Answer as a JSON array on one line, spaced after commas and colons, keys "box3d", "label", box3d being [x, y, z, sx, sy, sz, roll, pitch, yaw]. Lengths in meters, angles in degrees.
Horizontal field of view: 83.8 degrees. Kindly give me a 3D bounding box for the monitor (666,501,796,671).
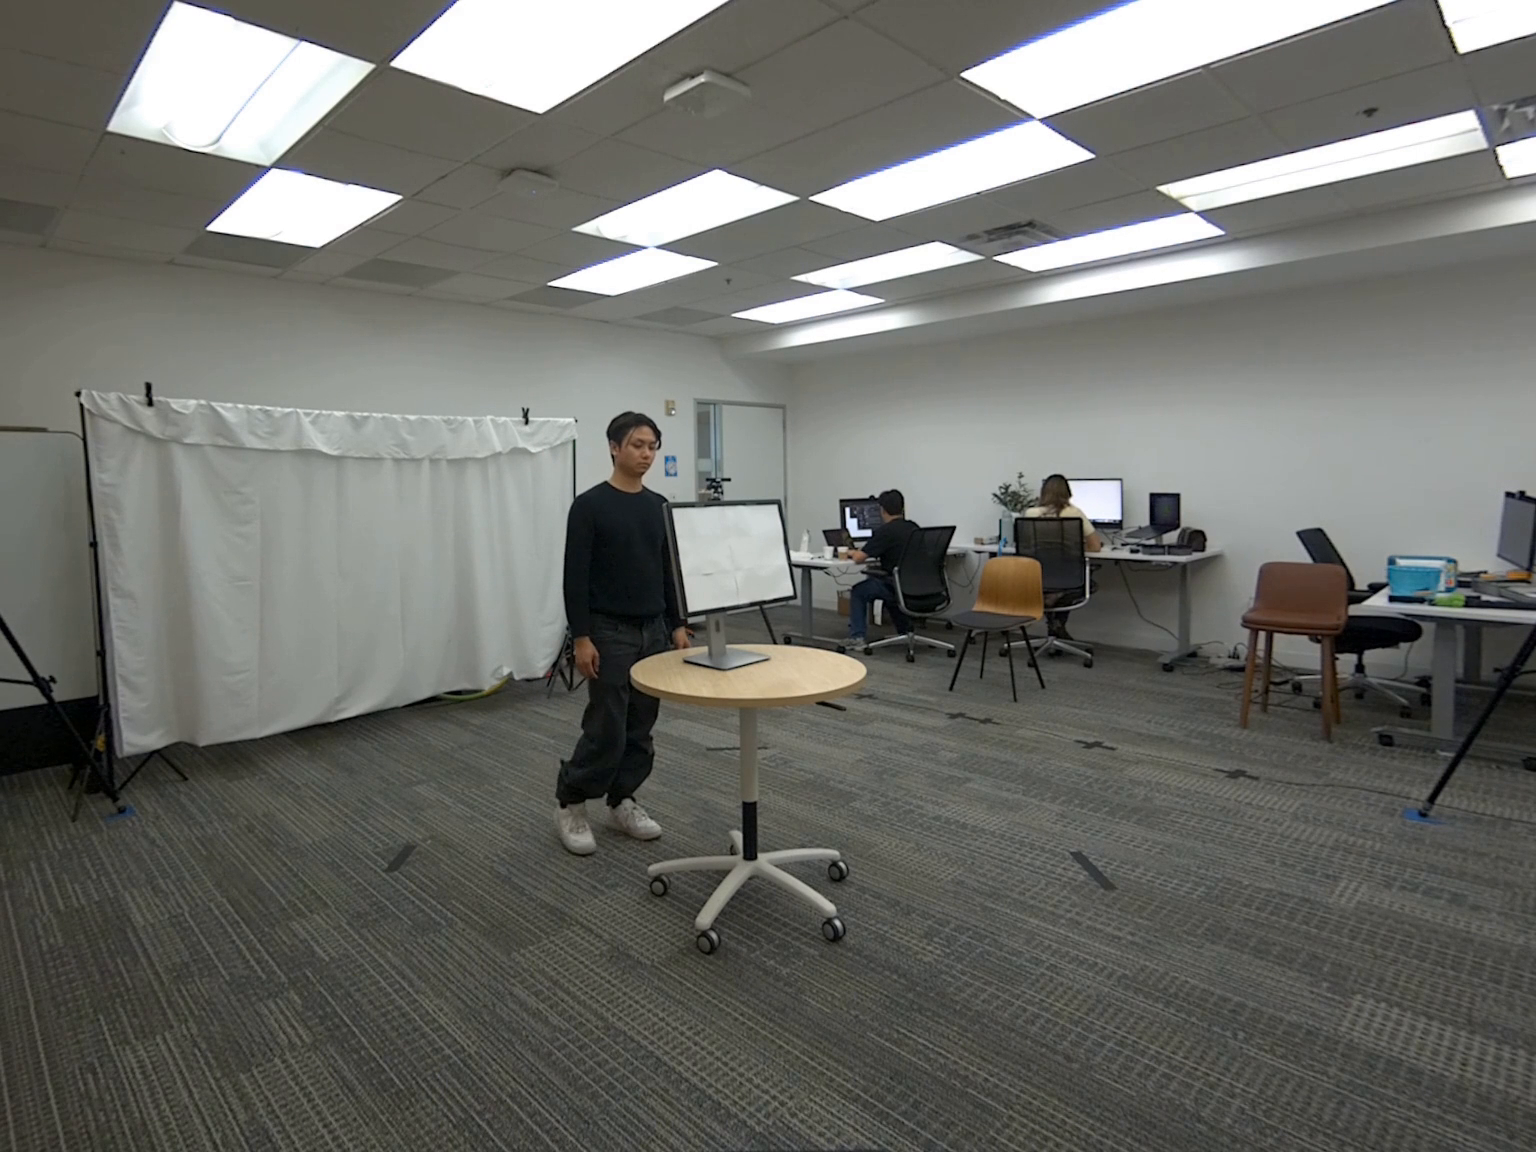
[{"box3d": [-0.140, 0.022, 2.883, 0.193, 0.520, 0.525, 5, 8, 38], "label": "monitor"}]
